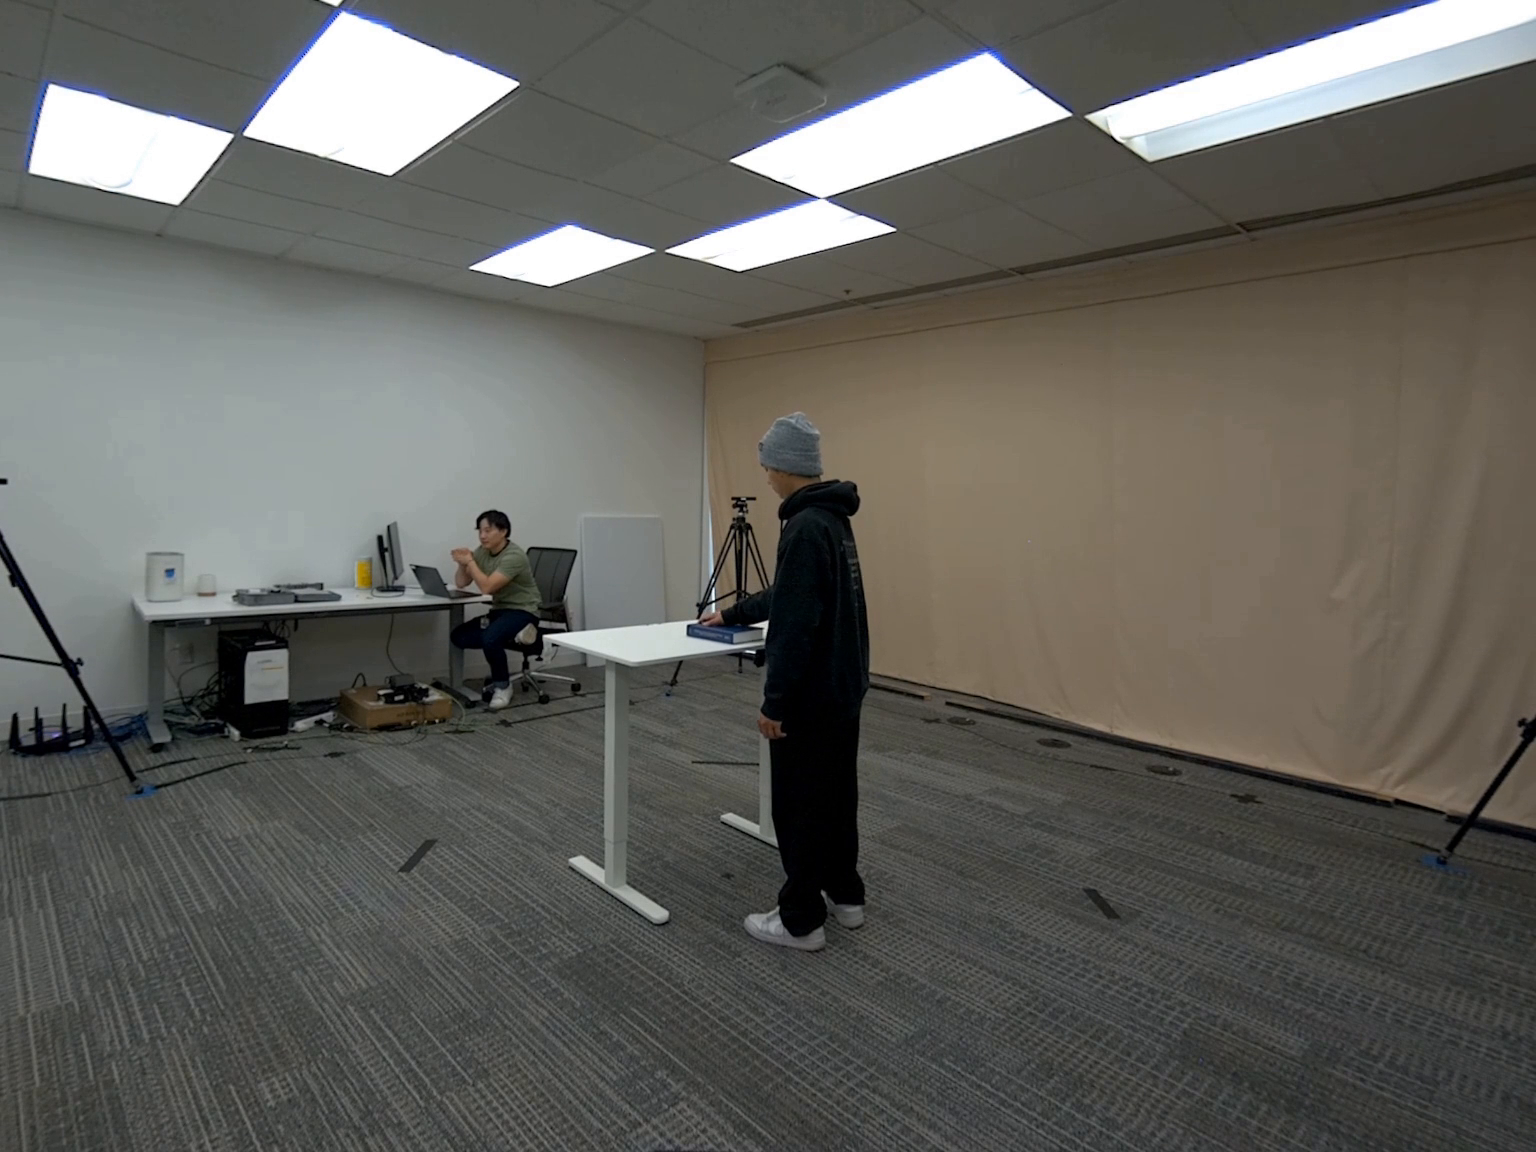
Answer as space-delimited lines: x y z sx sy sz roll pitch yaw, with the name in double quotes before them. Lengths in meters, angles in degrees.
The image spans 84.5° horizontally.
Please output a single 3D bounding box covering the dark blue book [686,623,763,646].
"dark blue book" -0.164 0.209 3.069 0.251 0.045 0.160 5 6 44
